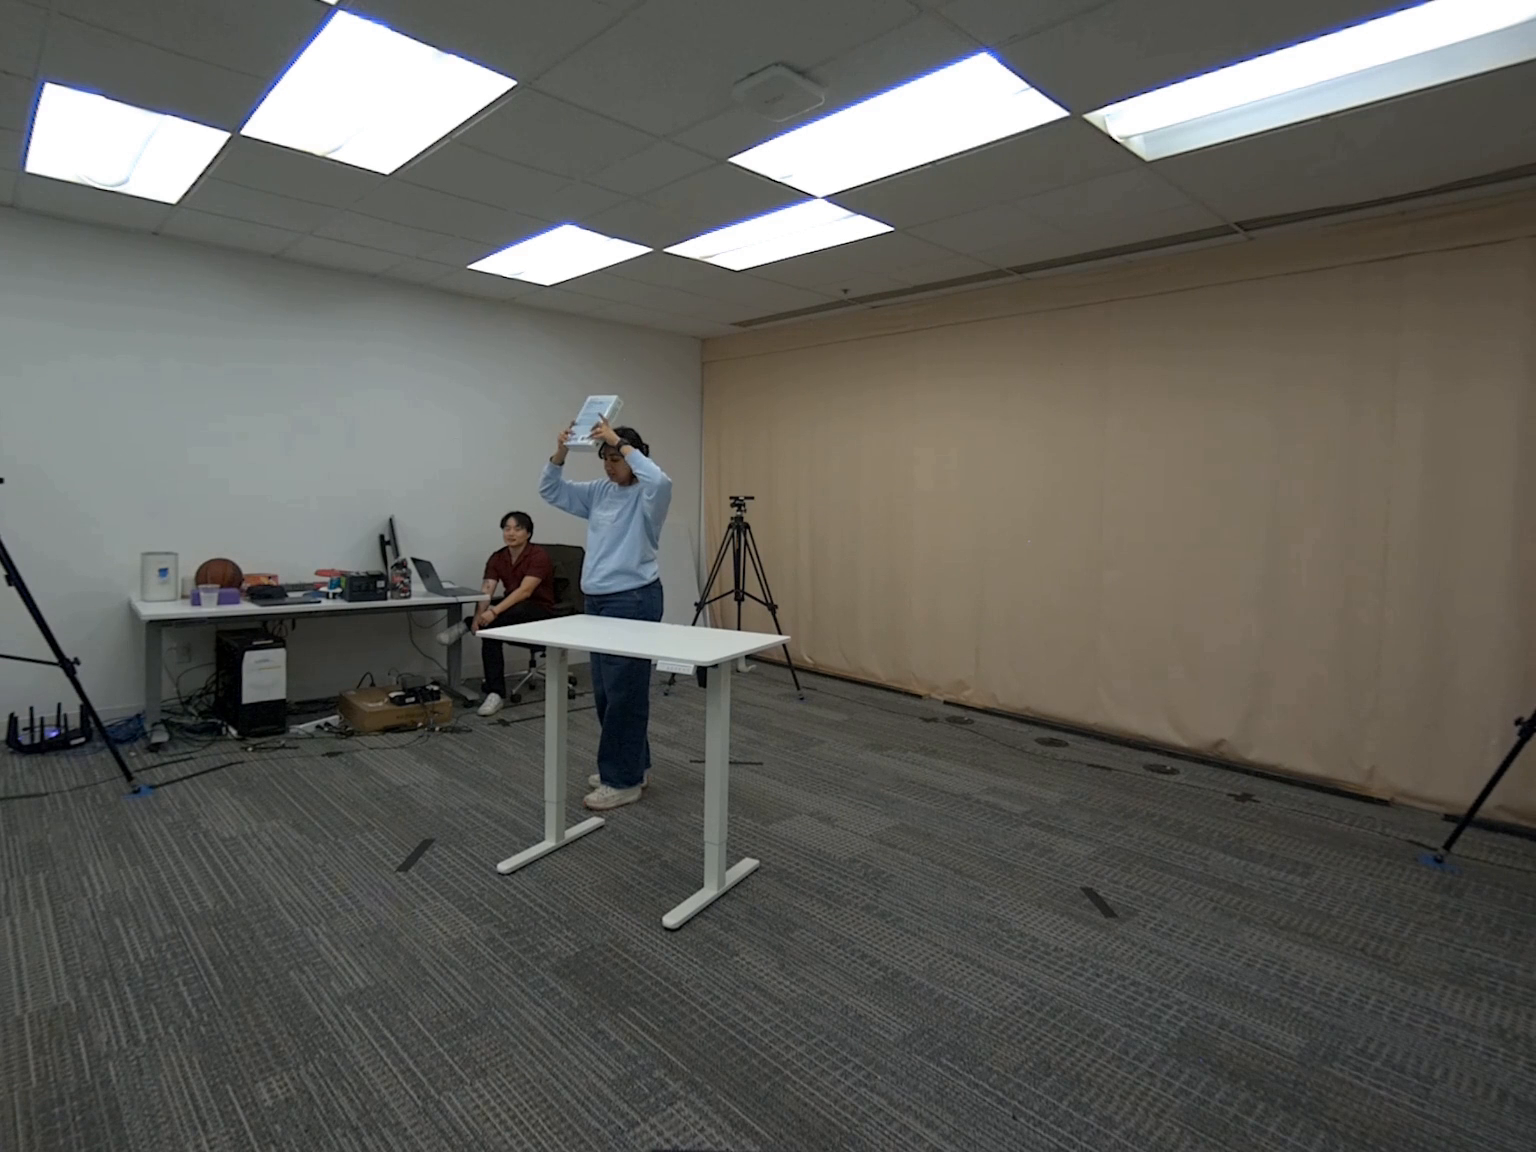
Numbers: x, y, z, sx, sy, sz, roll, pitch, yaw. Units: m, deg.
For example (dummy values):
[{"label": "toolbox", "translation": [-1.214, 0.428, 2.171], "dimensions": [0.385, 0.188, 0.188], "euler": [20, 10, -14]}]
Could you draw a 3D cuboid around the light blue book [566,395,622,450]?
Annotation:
[{"label": "light blue book", "translation": [-0.771, -0.664, 3.672], "dimensions": [0.196, 0.263, 0.057], "euler": [7, -24, 39]}]
